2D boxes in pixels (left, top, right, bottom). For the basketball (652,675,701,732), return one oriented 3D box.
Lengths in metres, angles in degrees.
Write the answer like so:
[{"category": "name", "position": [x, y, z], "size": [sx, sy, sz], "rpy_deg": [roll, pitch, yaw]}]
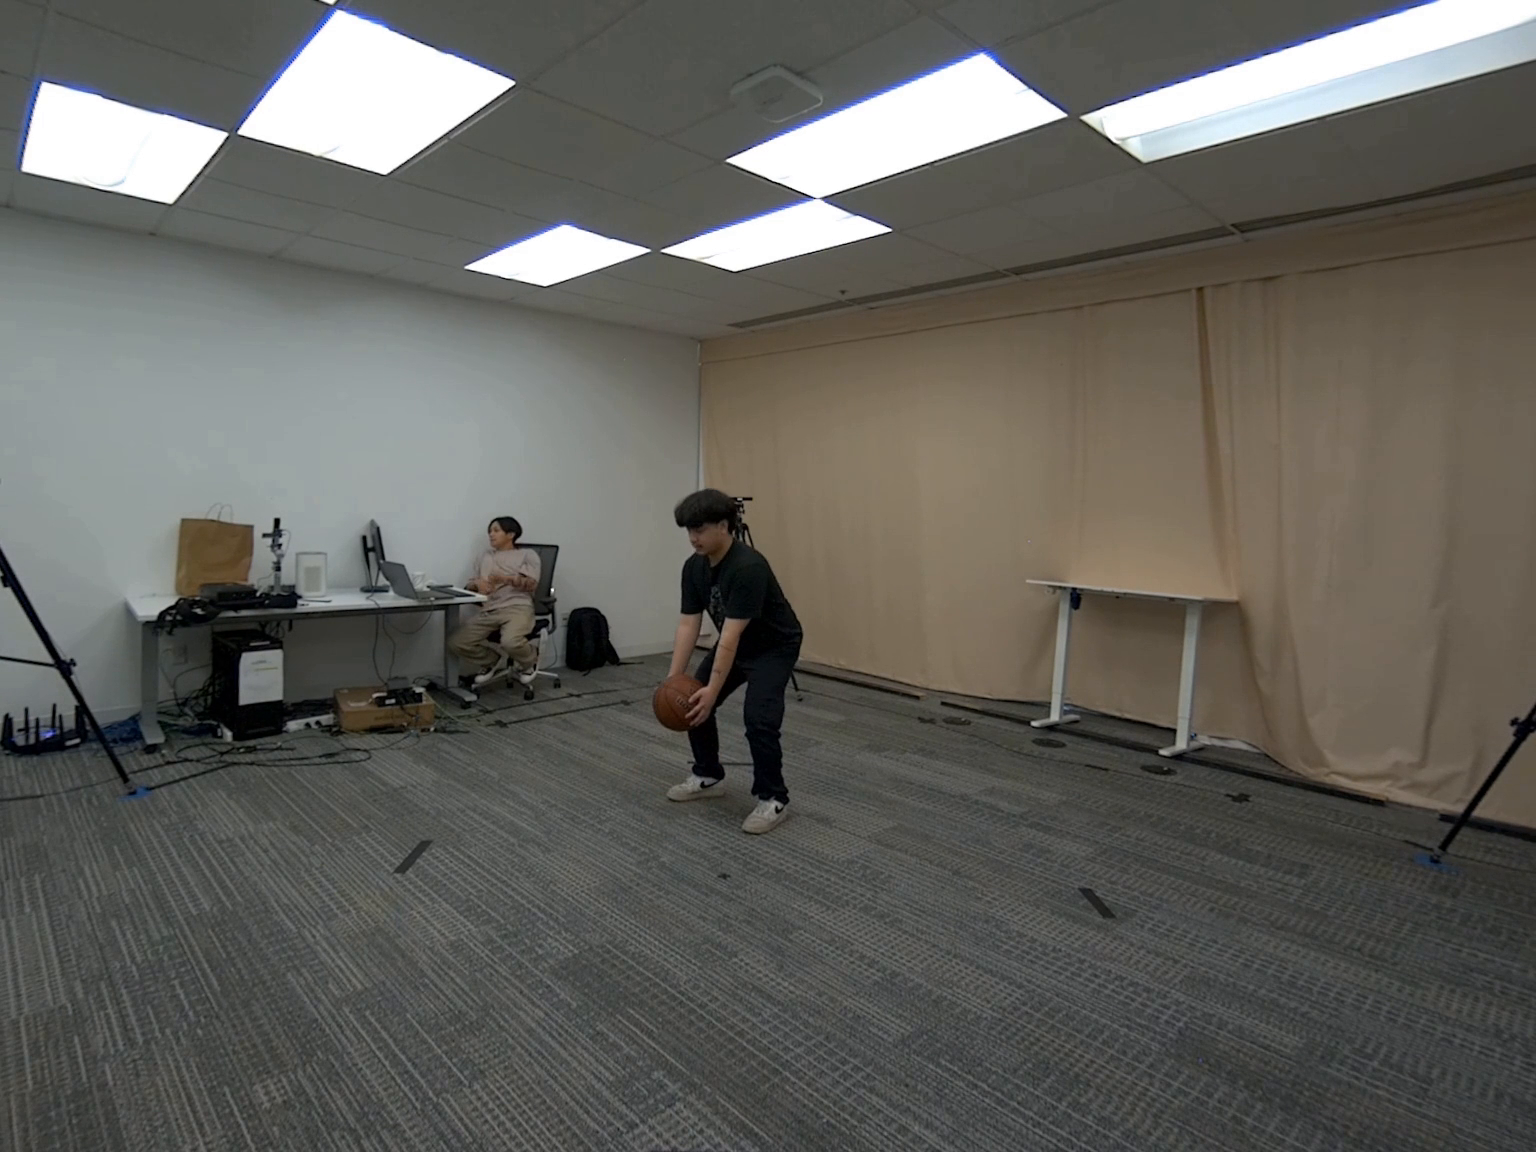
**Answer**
[{"category": "basketball", "position": [-0.387, 0.537, 3.562], "size": [0.236, 0.235, 0.237], "rpy_deg": [1, 4, -1]}]
